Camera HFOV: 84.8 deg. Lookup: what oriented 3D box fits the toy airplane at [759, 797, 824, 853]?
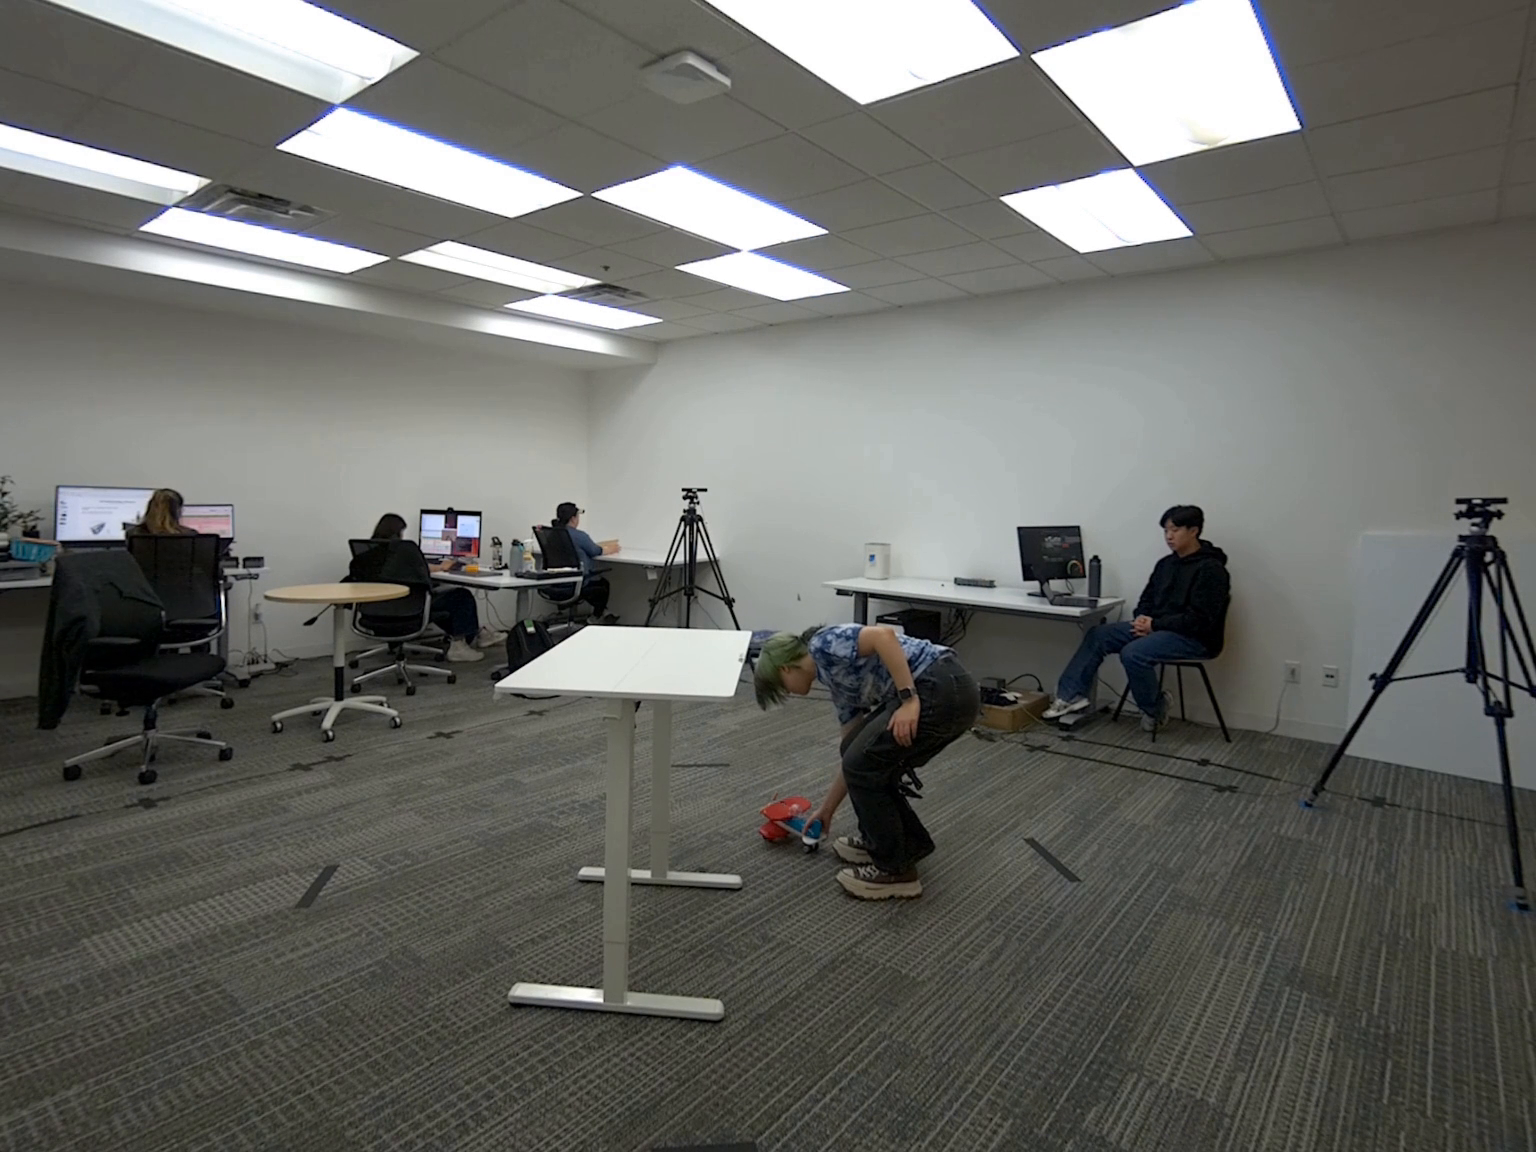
[{"bbox_3d":[0.102,0.977,3.359,0.263,0.156,0.248,0,4,13],"label":"toy airplane"}]
